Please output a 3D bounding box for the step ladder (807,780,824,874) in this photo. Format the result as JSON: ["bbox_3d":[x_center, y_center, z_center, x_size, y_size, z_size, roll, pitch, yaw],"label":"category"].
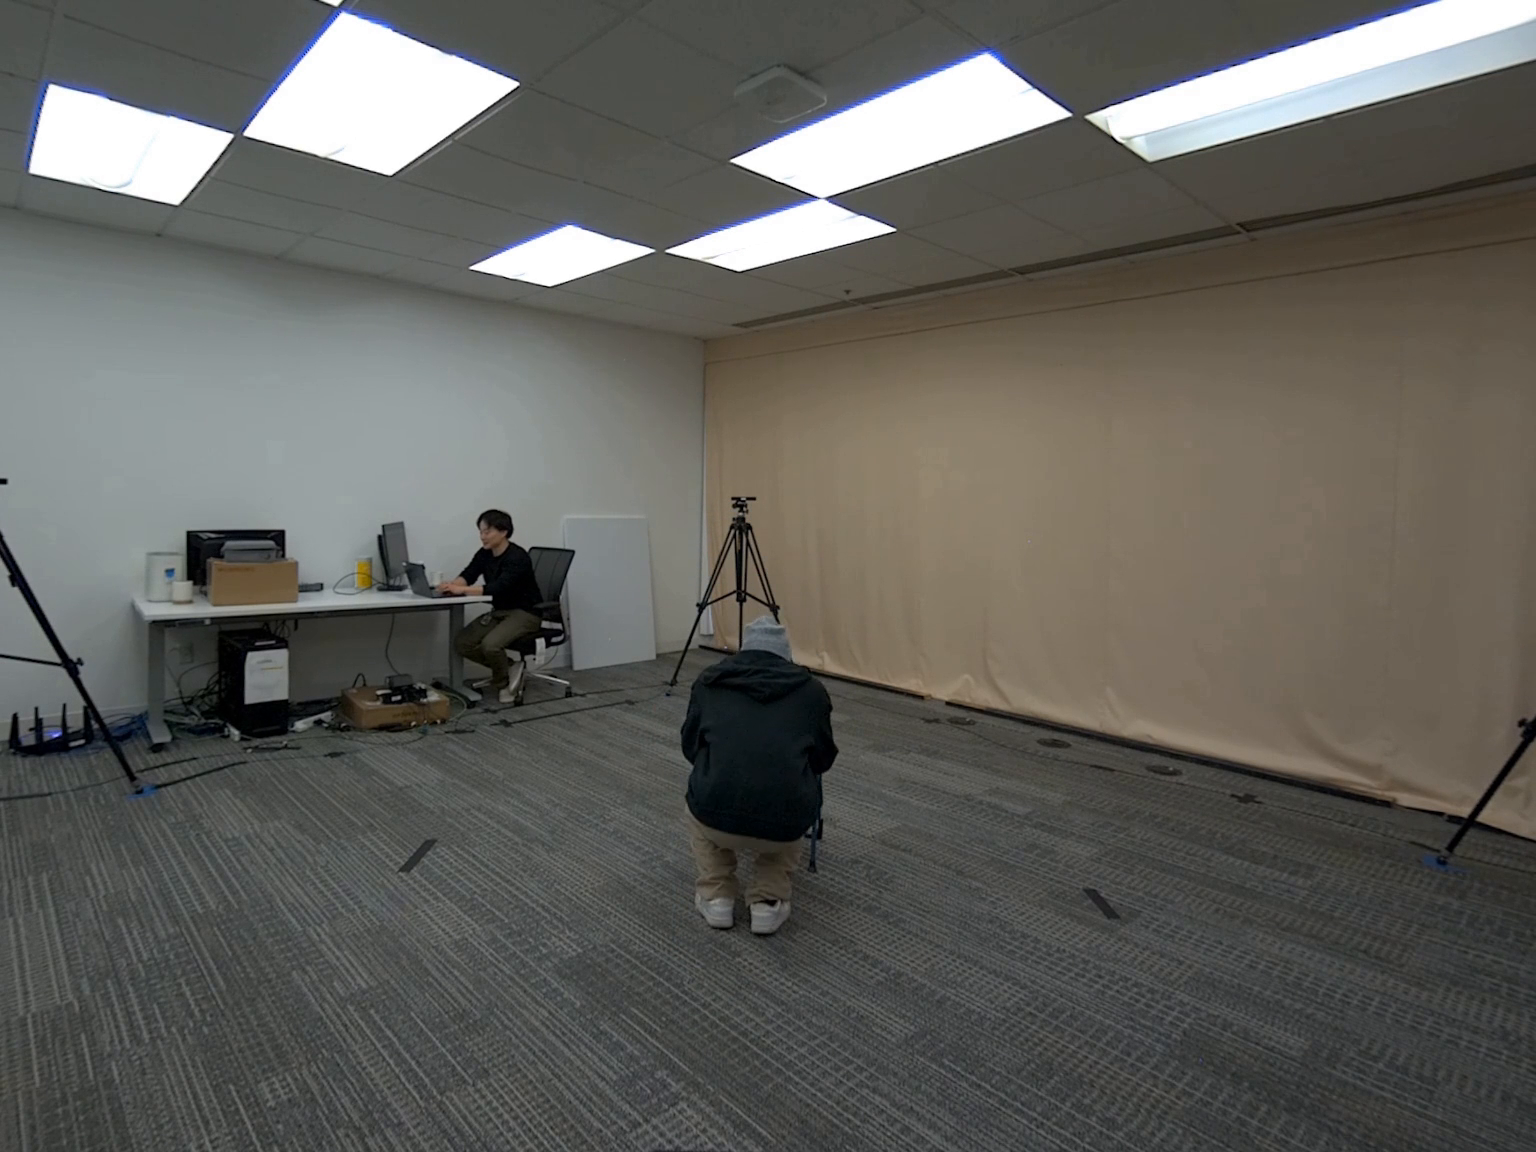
[{"bbox_3d":[0.001,0.792,3.346,0.434,0.604,0.347,2,4,10],"label":"step ladder"}]
